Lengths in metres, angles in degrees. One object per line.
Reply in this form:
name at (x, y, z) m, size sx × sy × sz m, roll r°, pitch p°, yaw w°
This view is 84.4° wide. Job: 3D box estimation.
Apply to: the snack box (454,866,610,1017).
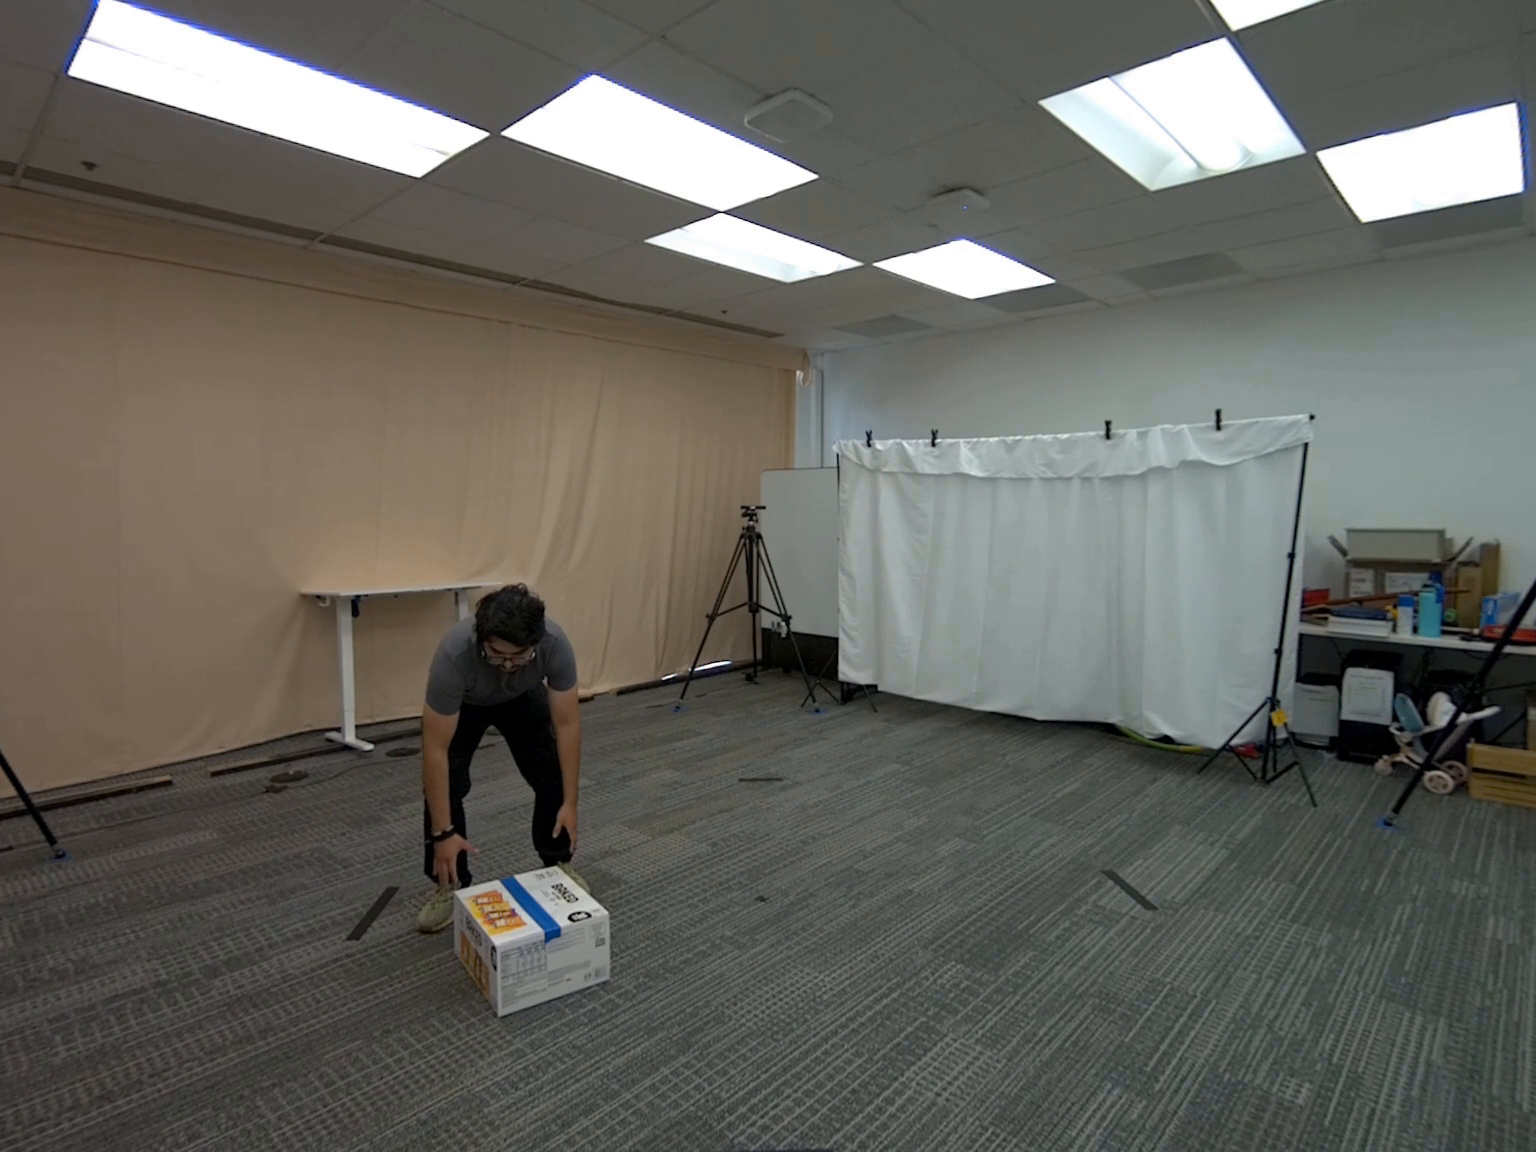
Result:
snack box at (-0.717, 1.084, 2.538) m, size 0.330 × 0.205 × 0.418 m, roll -3°, pitch 5°, yaw -35°
